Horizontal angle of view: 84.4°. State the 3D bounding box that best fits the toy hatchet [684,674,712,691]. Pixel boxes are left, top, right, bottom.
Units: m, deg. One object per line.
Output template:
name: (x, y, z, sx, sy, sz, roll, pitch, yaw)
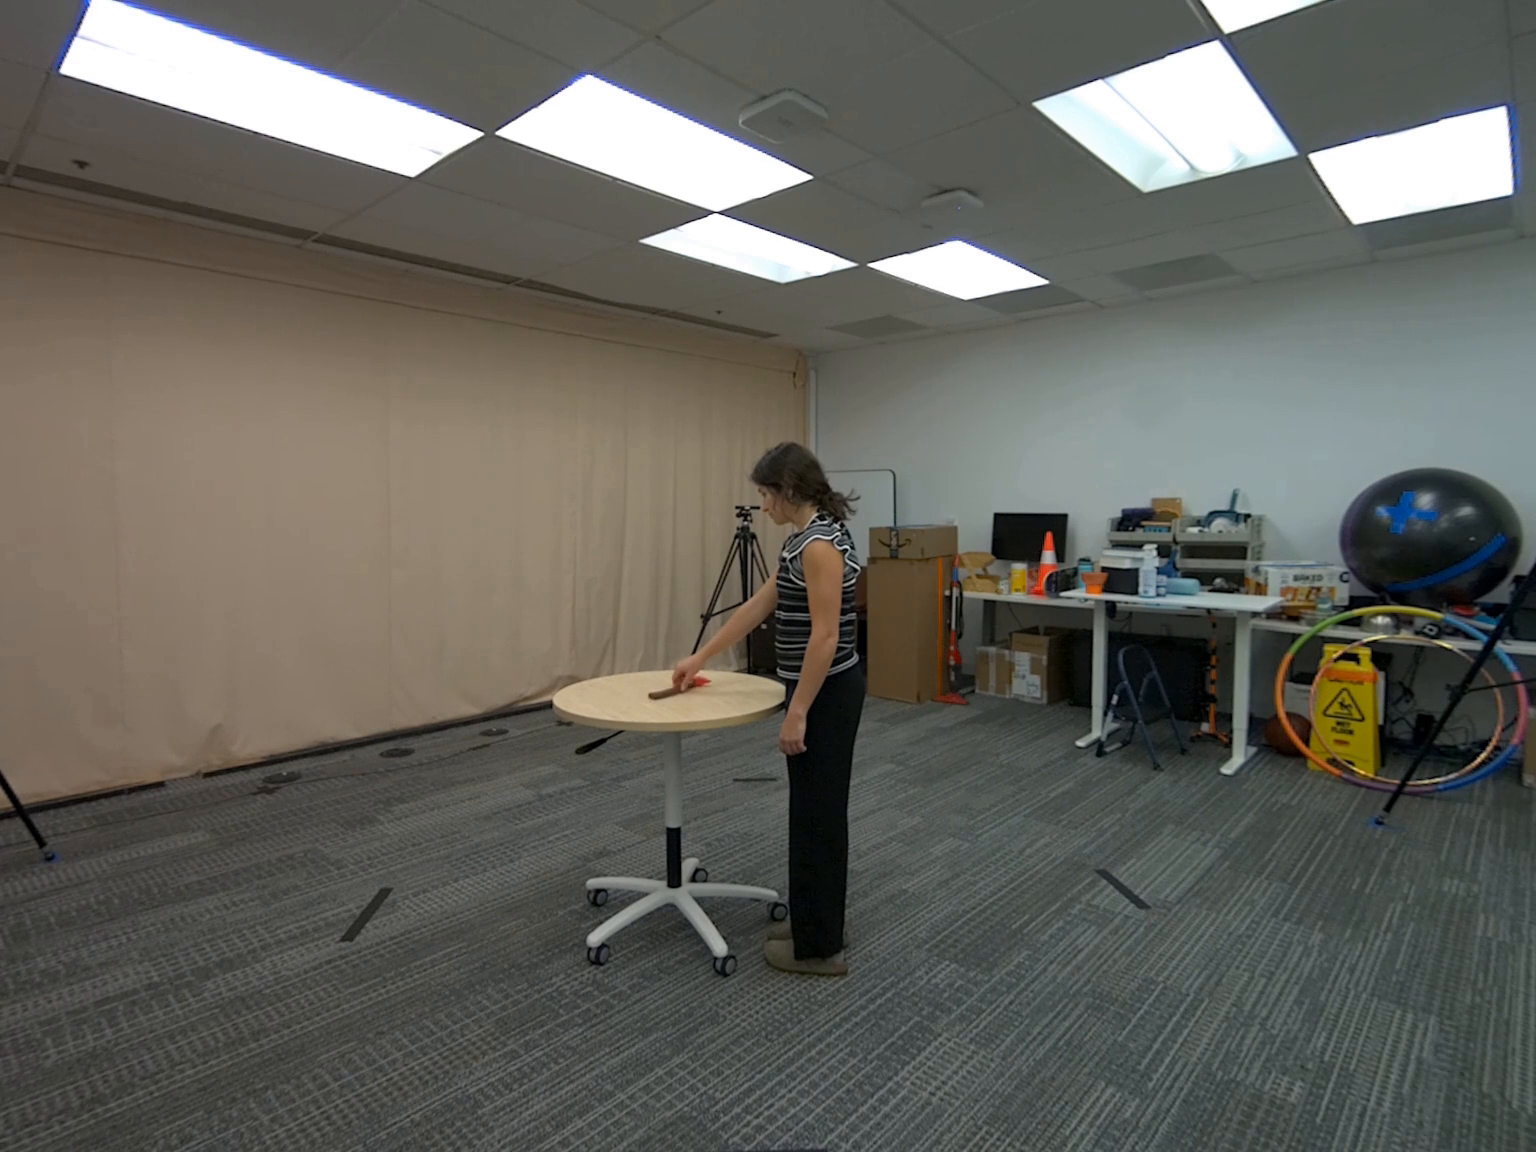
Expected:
toy hatchet: (-0.314, 0.368, 2.775, 0.135, 0.029, 0.262, 2, 6, 39)
